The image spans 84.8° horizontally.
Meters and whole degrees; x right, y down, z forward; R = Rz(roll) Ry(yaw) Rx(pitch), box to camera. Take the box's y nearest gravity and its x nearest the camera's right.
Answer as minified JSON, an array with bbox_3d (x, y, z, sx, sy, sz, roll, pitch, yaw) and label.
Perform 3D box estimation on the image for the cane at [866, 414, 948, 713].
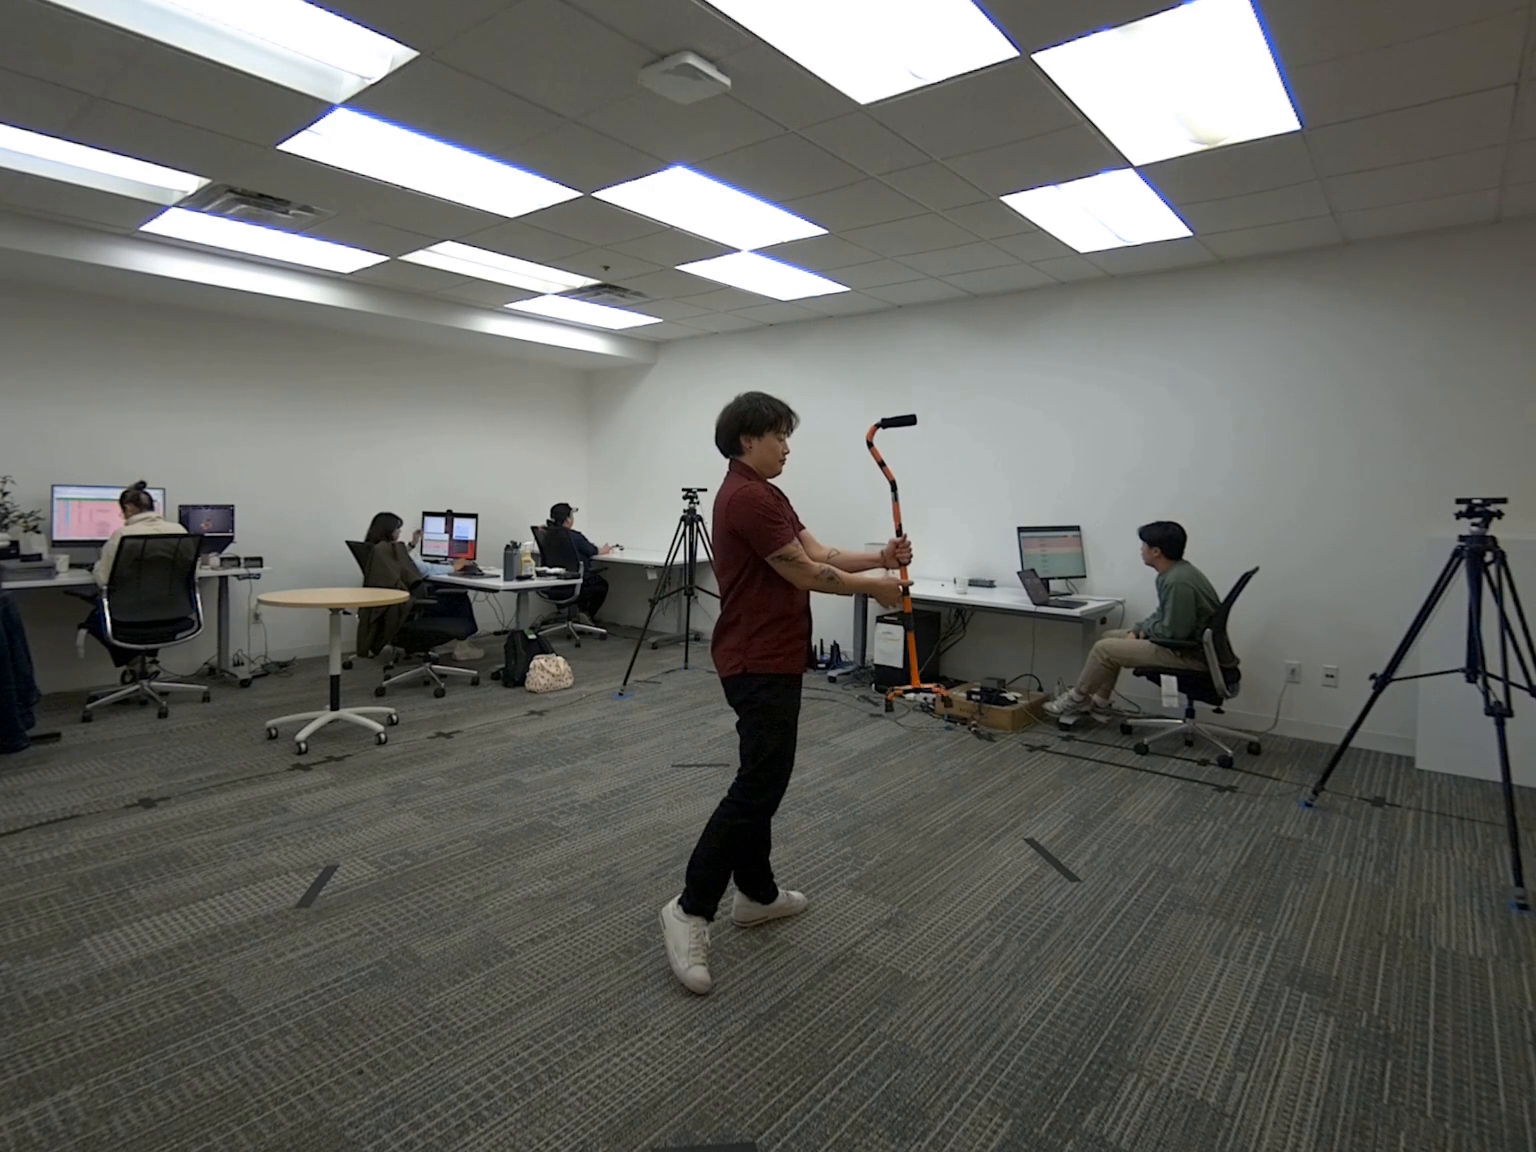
[{"bbox_3d":[0.418,-0.043,2.676,0.208,0.913,0.150,-7,-6,6],"label":"cane"}]
